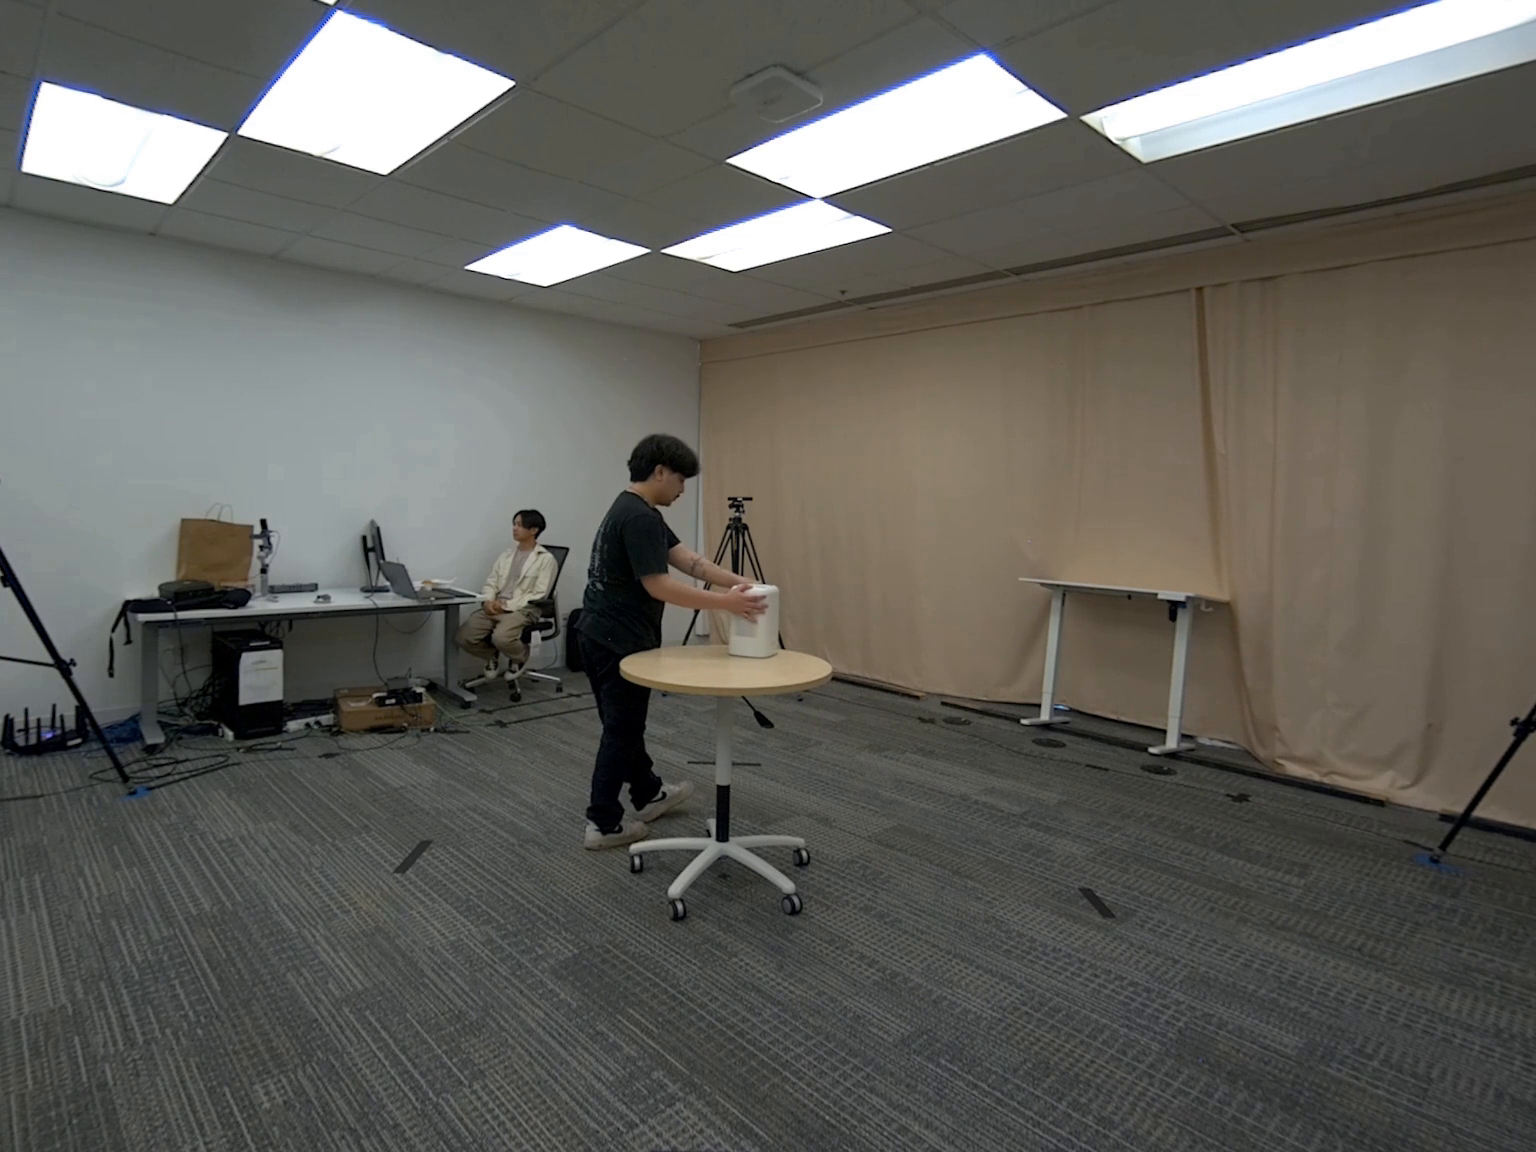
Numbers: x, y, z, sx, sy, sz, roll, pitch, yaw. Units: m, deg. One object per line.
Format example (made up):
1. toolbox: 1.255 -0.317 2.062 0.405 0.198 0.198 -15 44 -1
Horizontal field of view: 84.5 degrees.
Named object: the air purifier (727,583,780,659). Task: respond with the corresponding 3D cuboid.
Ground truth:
1. air purifier: -0.063 0.167 3.246 0.175 0.265 0.168 4 4 22
